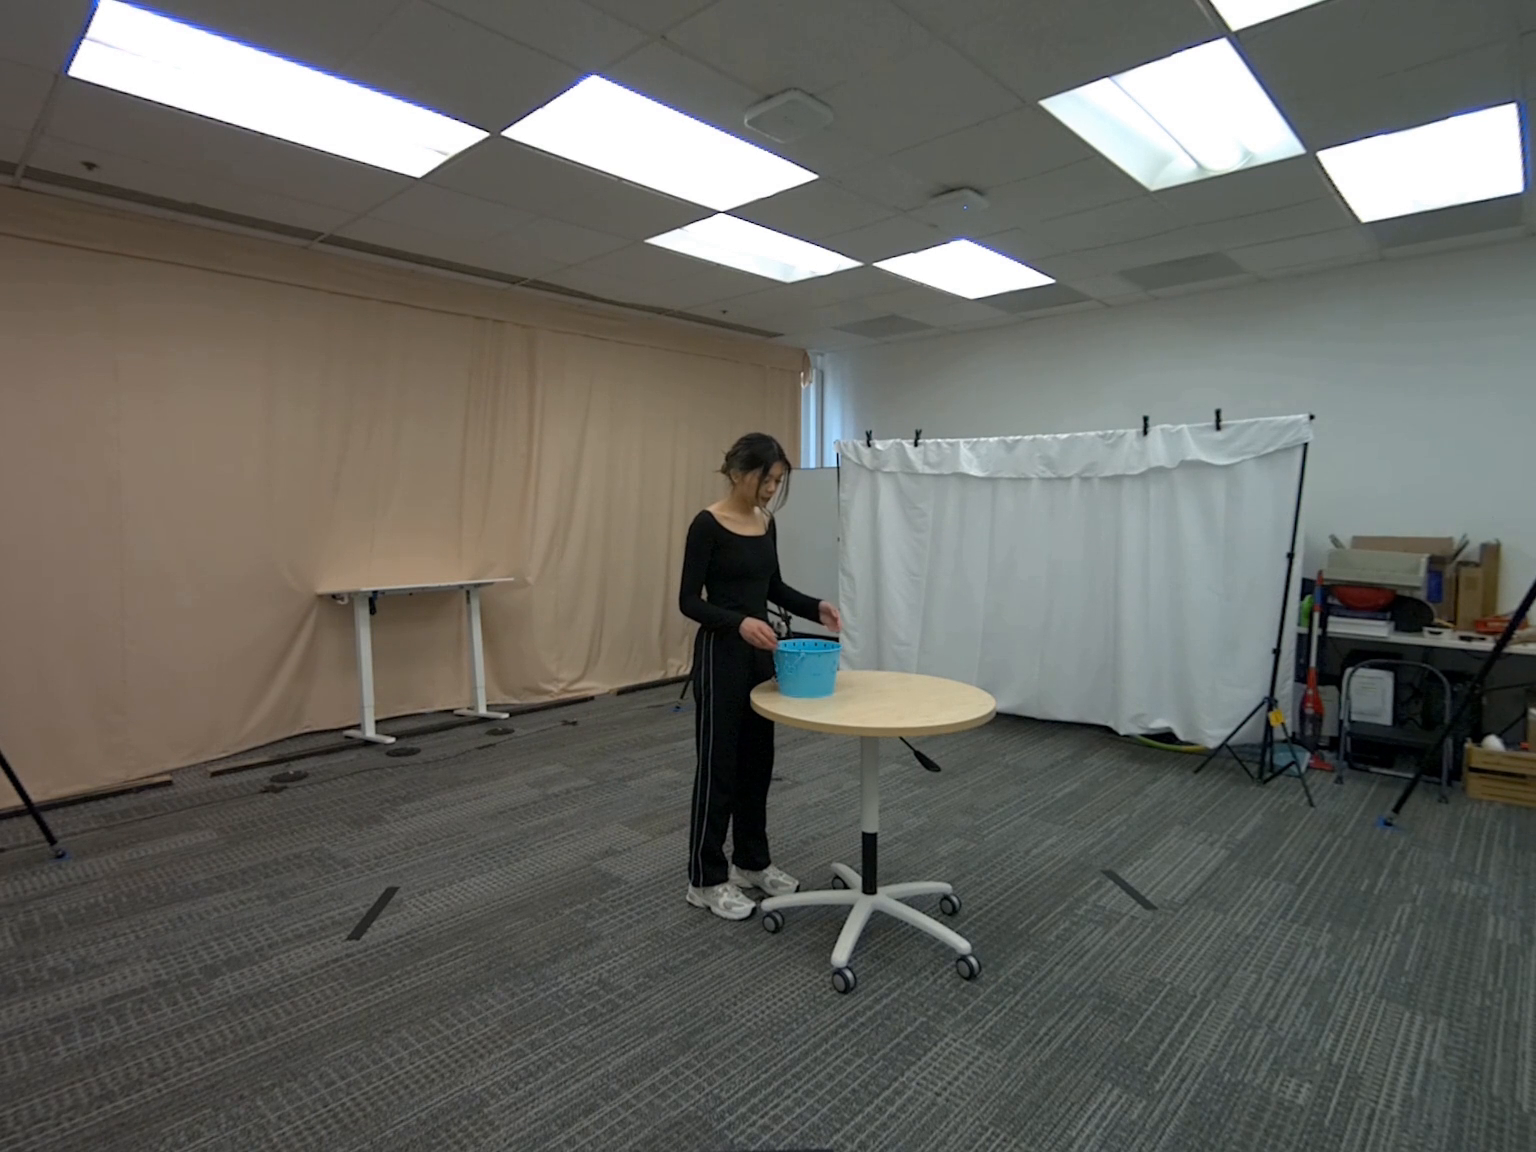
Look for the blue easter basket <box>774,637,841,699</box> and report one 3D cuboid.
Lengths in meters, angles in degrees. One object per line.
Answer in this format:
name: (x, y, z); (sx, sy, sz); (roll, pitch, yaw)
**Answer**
blue easter basket: (0.127, 0.301, 2.740); (0.243, 0.155, 0.245); (-1, 5, -2)
